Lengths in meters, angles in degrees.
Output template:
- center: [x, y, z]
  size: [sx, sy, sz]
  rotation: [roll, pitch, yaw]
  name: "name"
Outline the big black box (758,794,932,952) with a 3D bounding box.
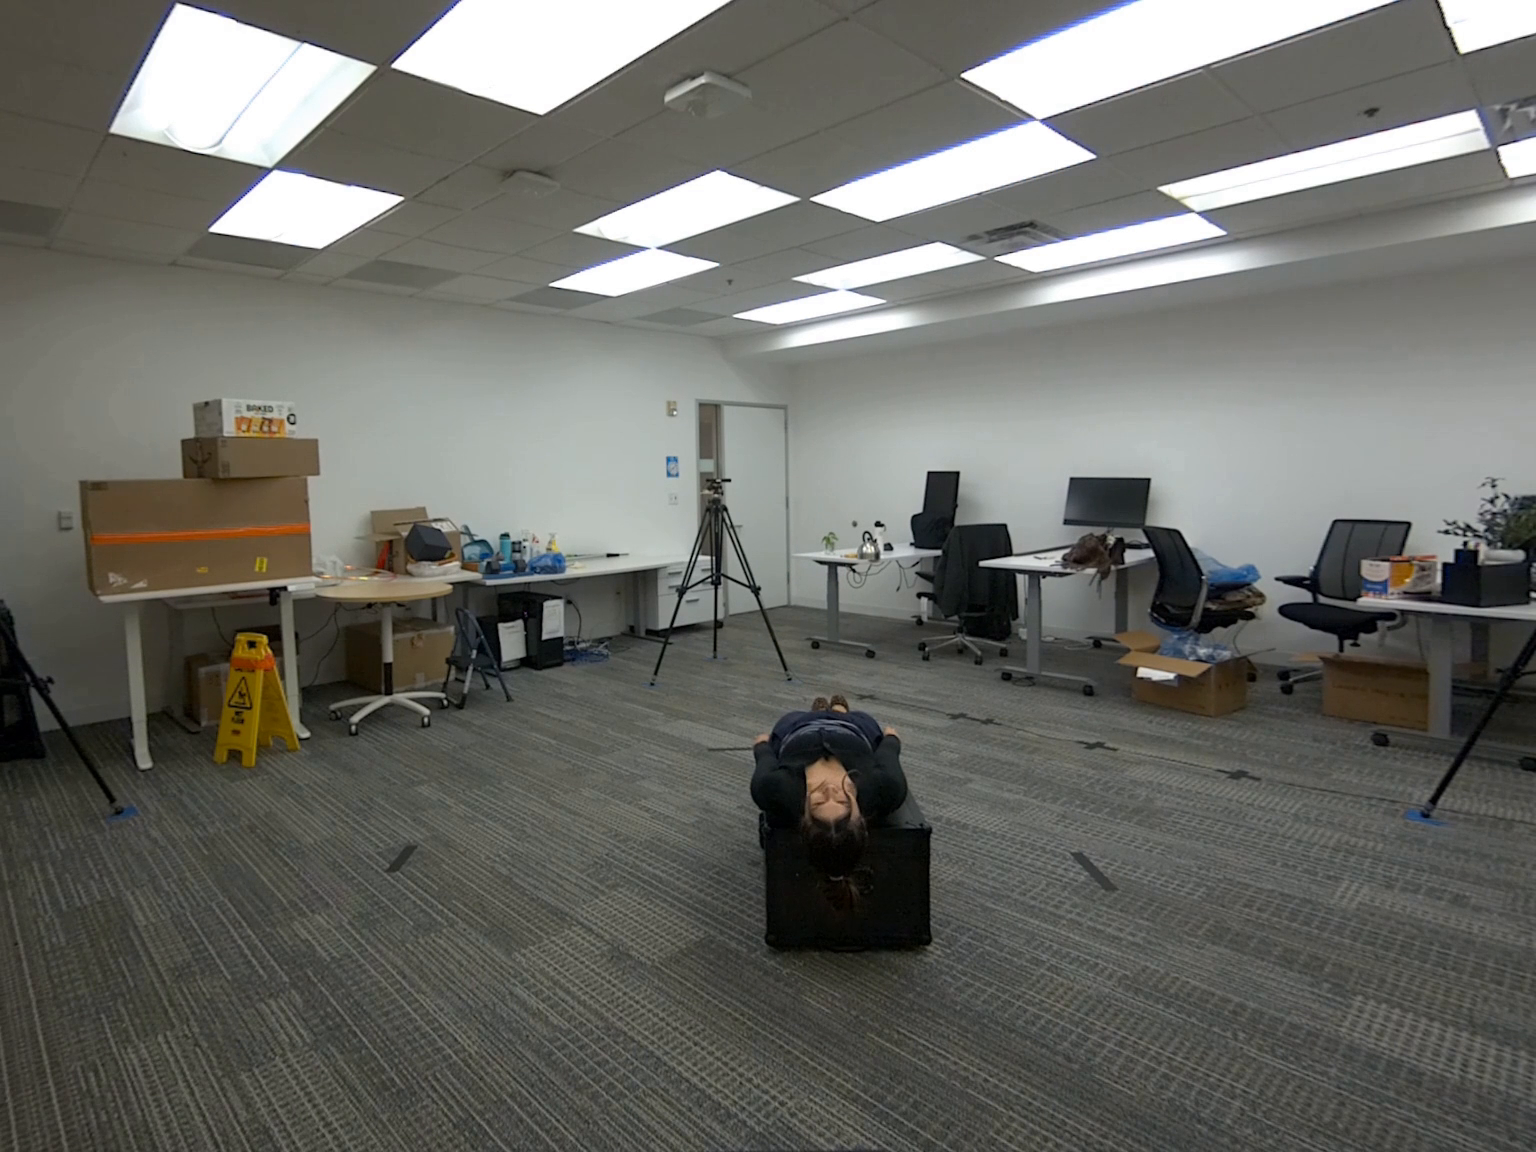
- center: [0.228, 0.864, 2.915]
  size: [0.521, 0.394, 0.866]
  rotation: [-2, 6, -1]
  name: "big black box"
